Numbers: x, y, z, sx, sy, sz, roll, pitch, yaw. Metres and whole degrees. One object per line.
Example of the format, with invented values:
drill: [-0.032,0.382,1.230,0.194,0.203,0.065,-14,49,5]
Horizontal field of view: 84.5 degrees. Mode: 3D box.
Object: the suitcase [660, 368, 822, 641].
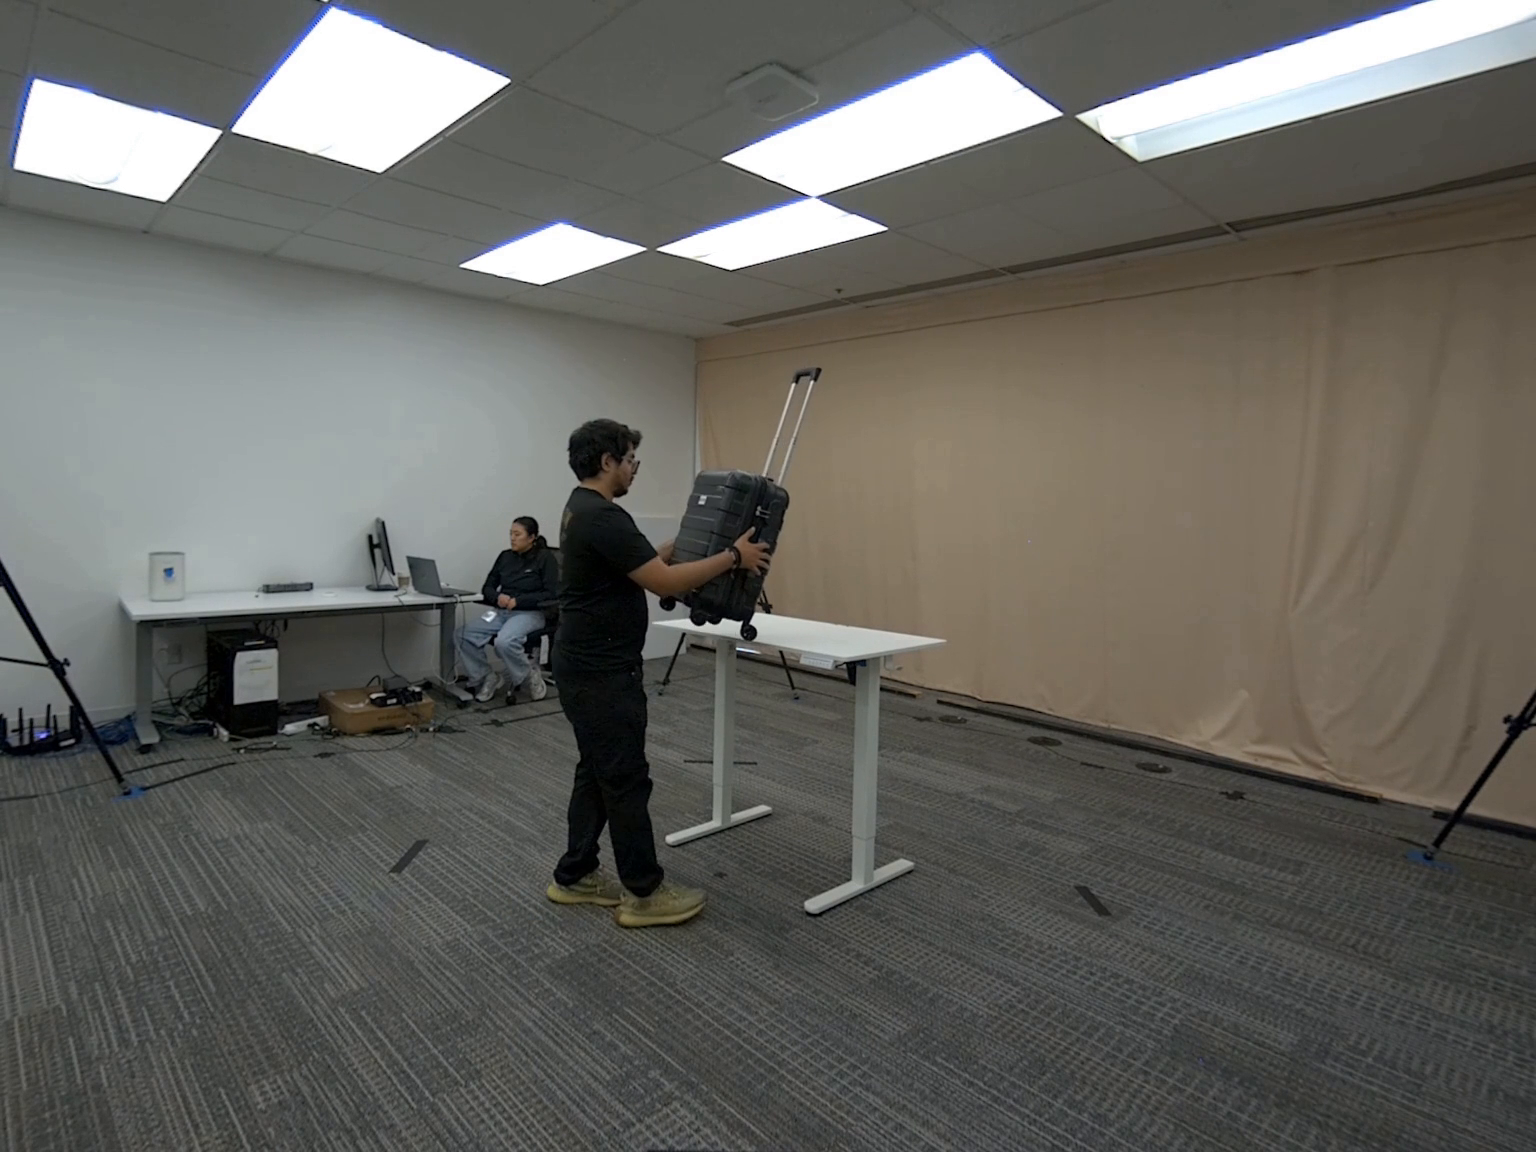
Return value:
suitcase: [-0.098,-0.301,2.949,0.251,0.979,0.392,16,-1,-27]
